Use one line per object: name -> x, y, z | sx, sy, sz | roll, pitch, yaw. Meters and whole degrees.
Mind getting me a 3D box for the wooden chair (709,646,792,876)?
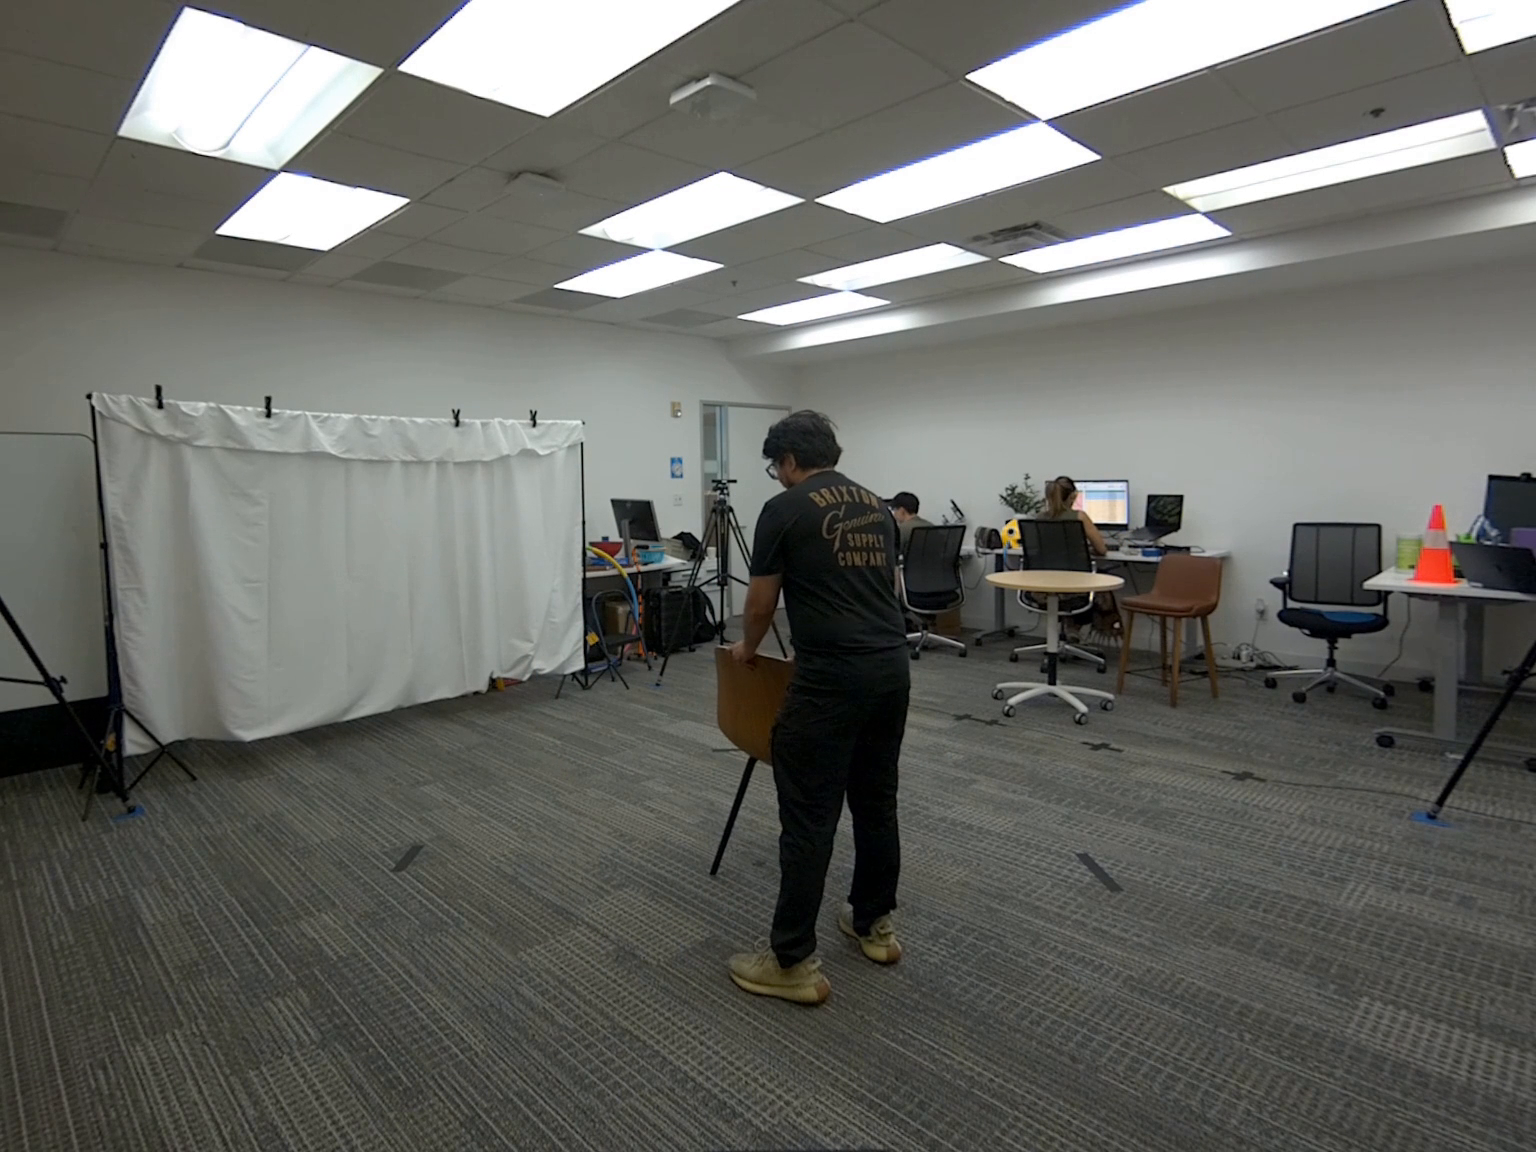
wooden chair -> 0.107, 0.627, 3.001 | 0.493, 0.871, 0.511 | 3, 11, 43
